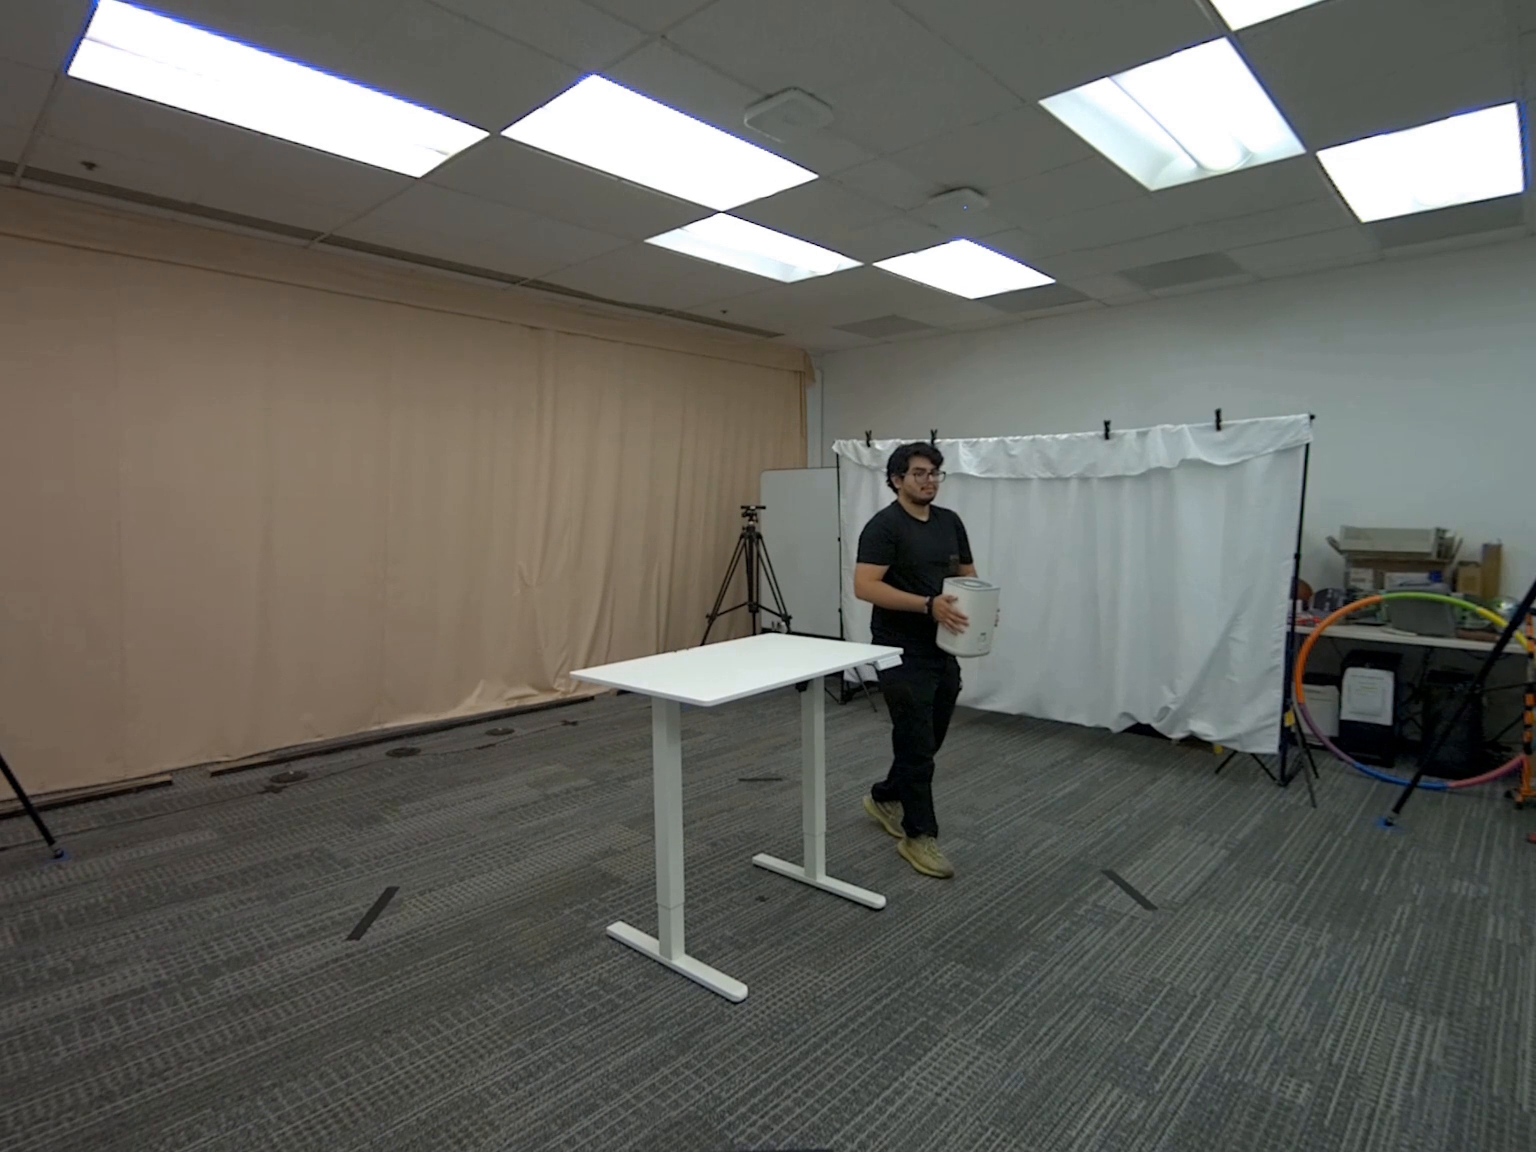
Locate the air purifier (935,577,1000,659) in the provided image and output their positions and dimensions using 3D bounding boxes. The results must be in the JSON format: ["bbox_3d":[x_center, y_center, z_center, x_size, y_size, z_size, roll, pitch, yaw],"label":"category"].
[{"bbox_3d":[0.735,0.155,3.115,0.166,0.263,0.177,-3,14,-30],"label":"air purifier"}]
